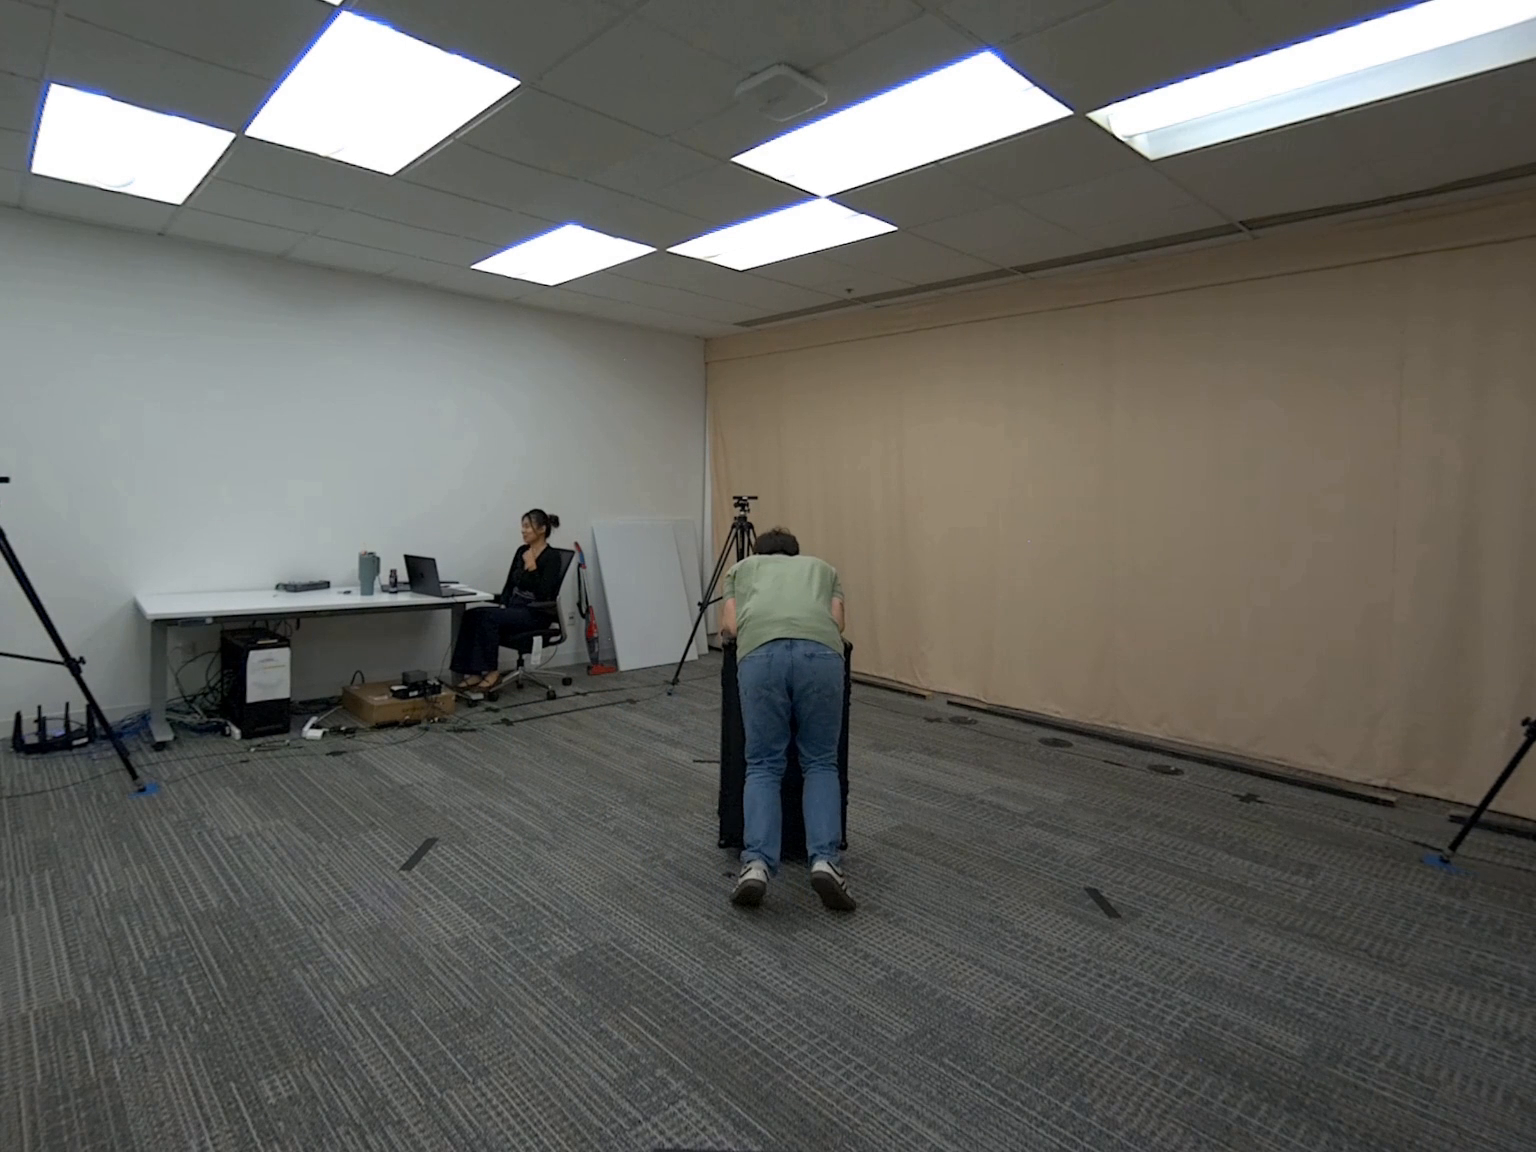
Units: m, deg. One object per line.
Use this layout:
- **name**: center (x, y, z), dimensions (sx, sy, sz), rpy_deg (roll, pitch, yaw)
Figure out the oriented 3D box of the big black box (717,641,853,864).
- **big black box**: center (0.038, 0.663, 3.349), dimensions (0.521, 0.860, 0.397), rpy_deg (1, 2, -1)
